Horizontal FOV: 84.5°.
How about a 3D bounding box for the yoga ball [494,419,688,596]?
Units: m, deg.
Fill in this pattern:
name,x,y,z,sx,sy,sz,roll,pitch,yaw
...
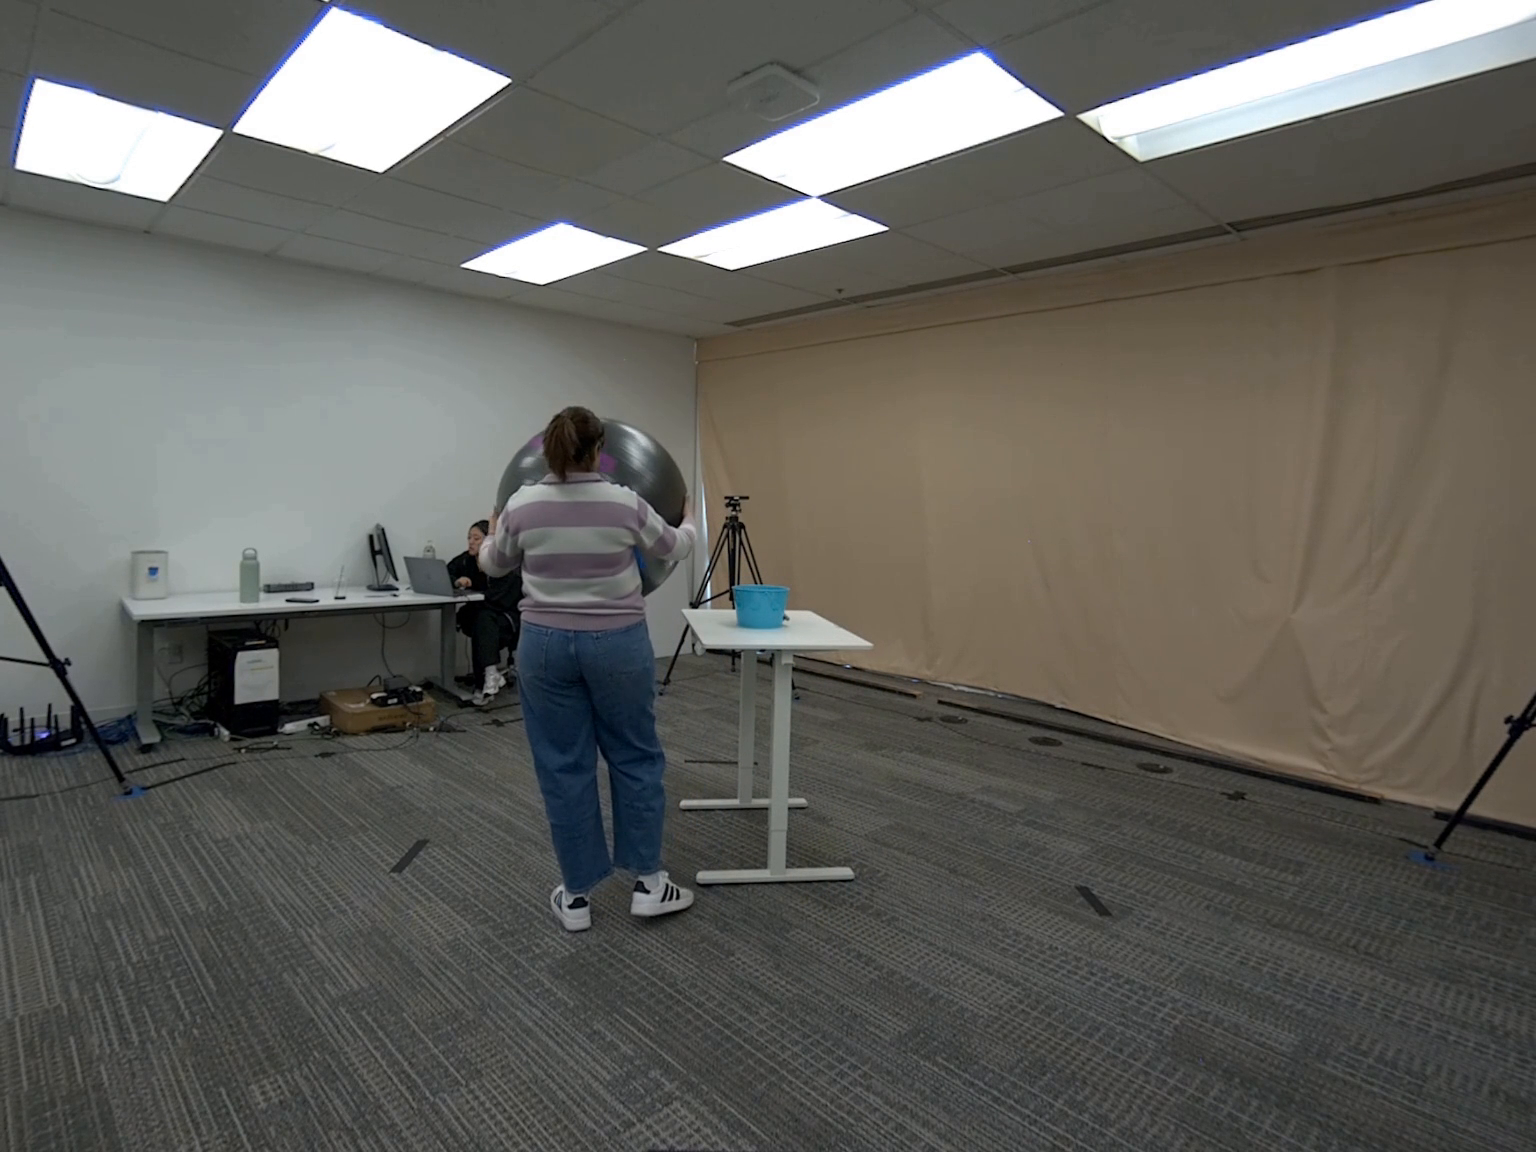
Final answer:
name,x,y,z,sx,sy,sz,roll,pitch,yaw
yoga ball,-0.693,-0.237,3.322,0.757,0.756,0.761,1,4,-1
